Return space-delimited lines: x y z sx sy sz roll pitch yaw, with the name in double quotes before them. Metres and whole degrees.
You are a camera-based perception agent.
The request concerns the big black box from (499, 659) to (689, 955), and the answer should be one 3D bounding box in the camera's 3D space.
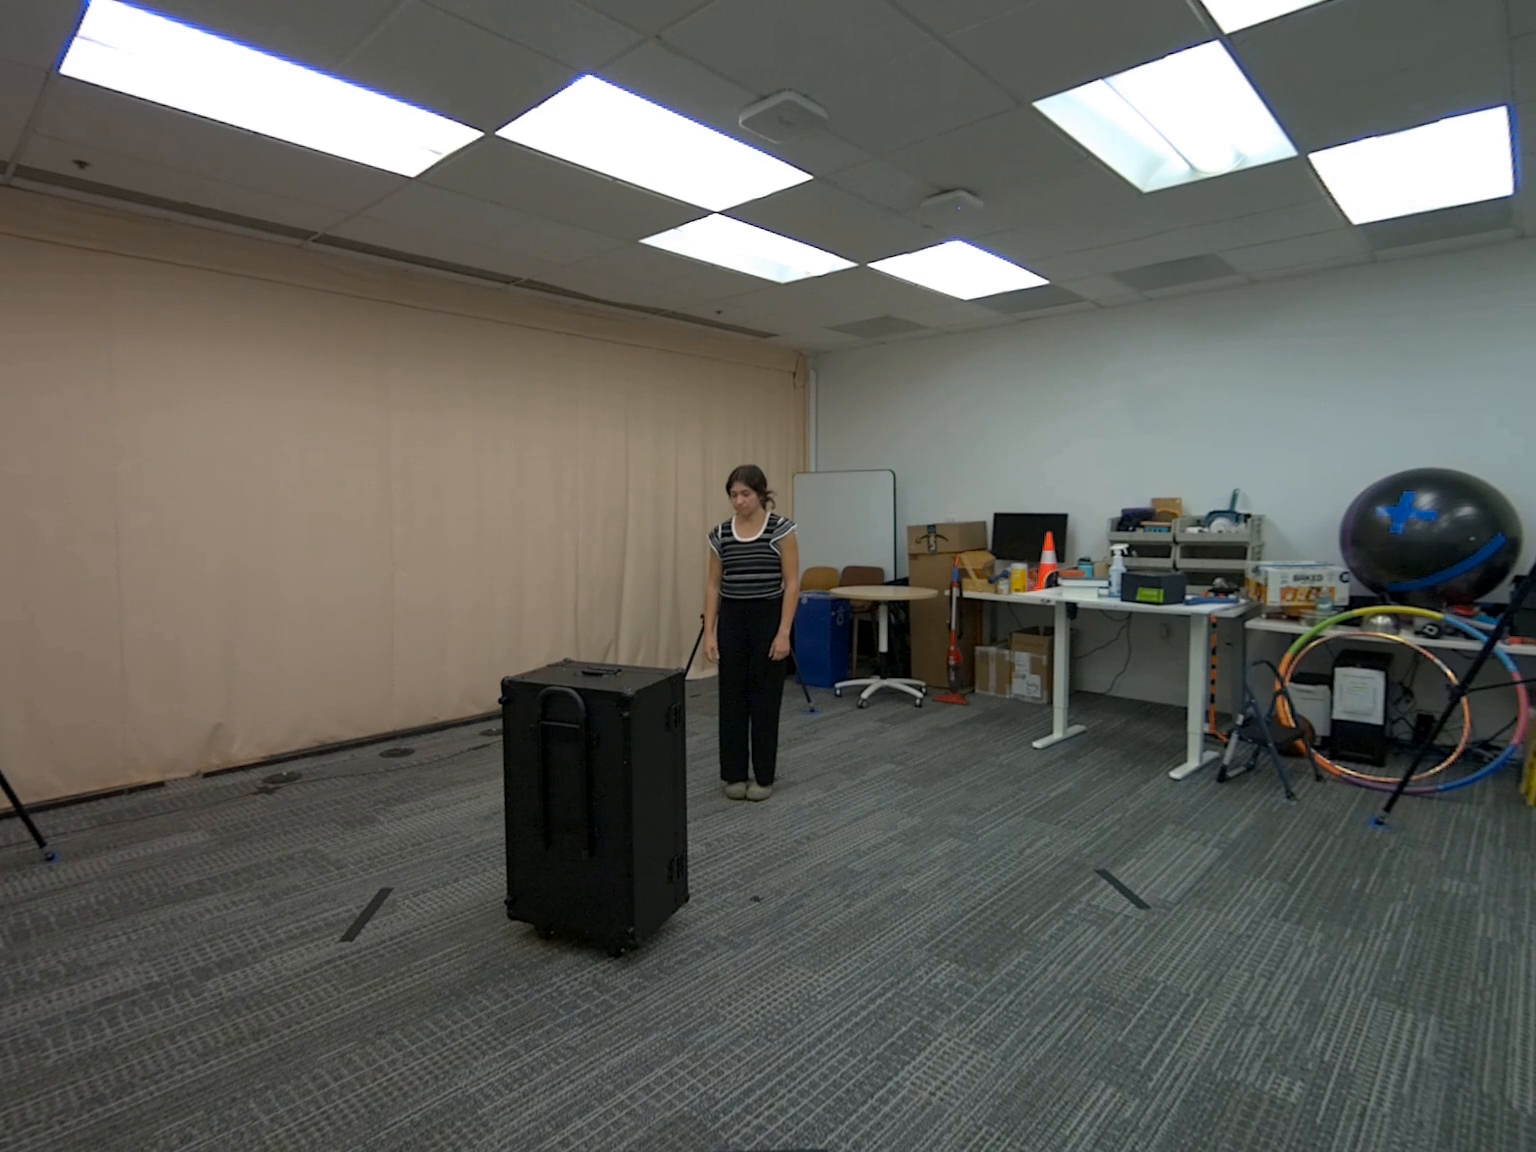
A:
"big black box" -0.563 0.748 2.734 0.534 0.859 0.387 1 4 25
